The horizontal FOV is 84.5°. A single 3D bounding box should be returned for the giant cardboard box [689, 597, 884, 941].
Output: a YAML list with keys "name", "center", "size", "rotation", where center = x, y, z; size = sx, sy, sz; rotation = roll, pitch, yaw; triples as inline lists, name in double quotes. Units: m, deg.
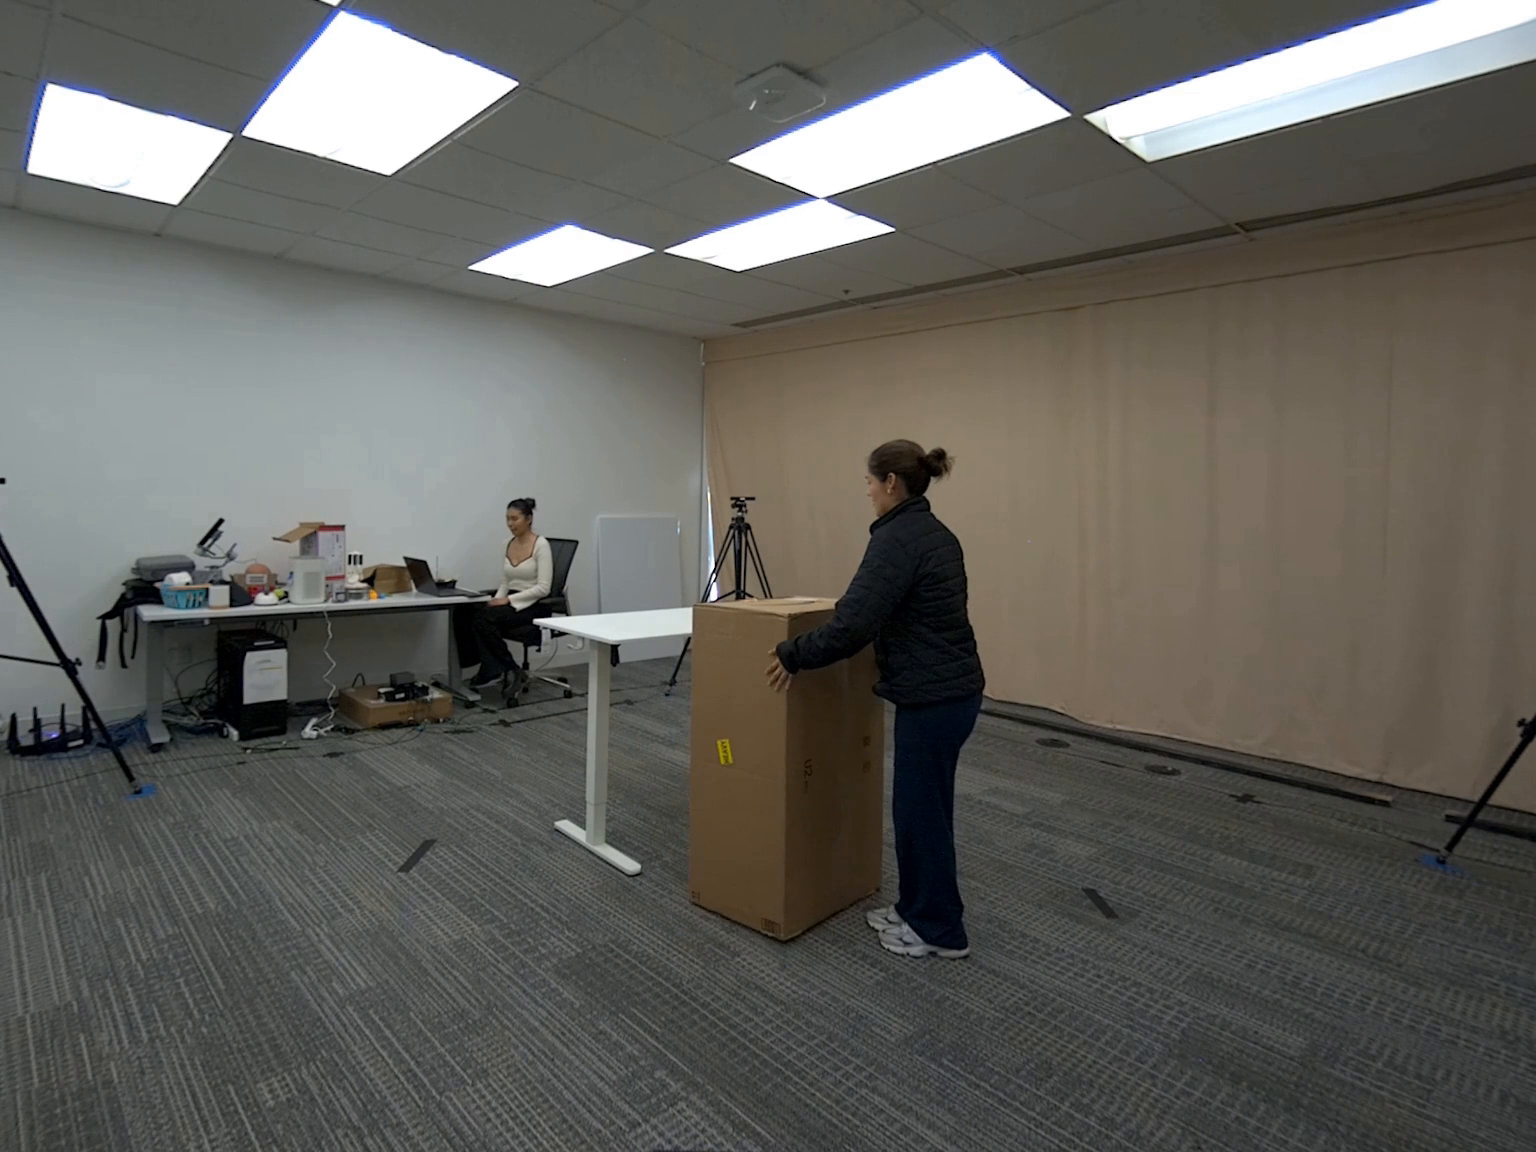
- name: "giant cardboard box"
  center: [0.068, 0.609, 2.944]
  size: [0.437, 1.025, 0.564]
  rotation: [2, 2, 41]
